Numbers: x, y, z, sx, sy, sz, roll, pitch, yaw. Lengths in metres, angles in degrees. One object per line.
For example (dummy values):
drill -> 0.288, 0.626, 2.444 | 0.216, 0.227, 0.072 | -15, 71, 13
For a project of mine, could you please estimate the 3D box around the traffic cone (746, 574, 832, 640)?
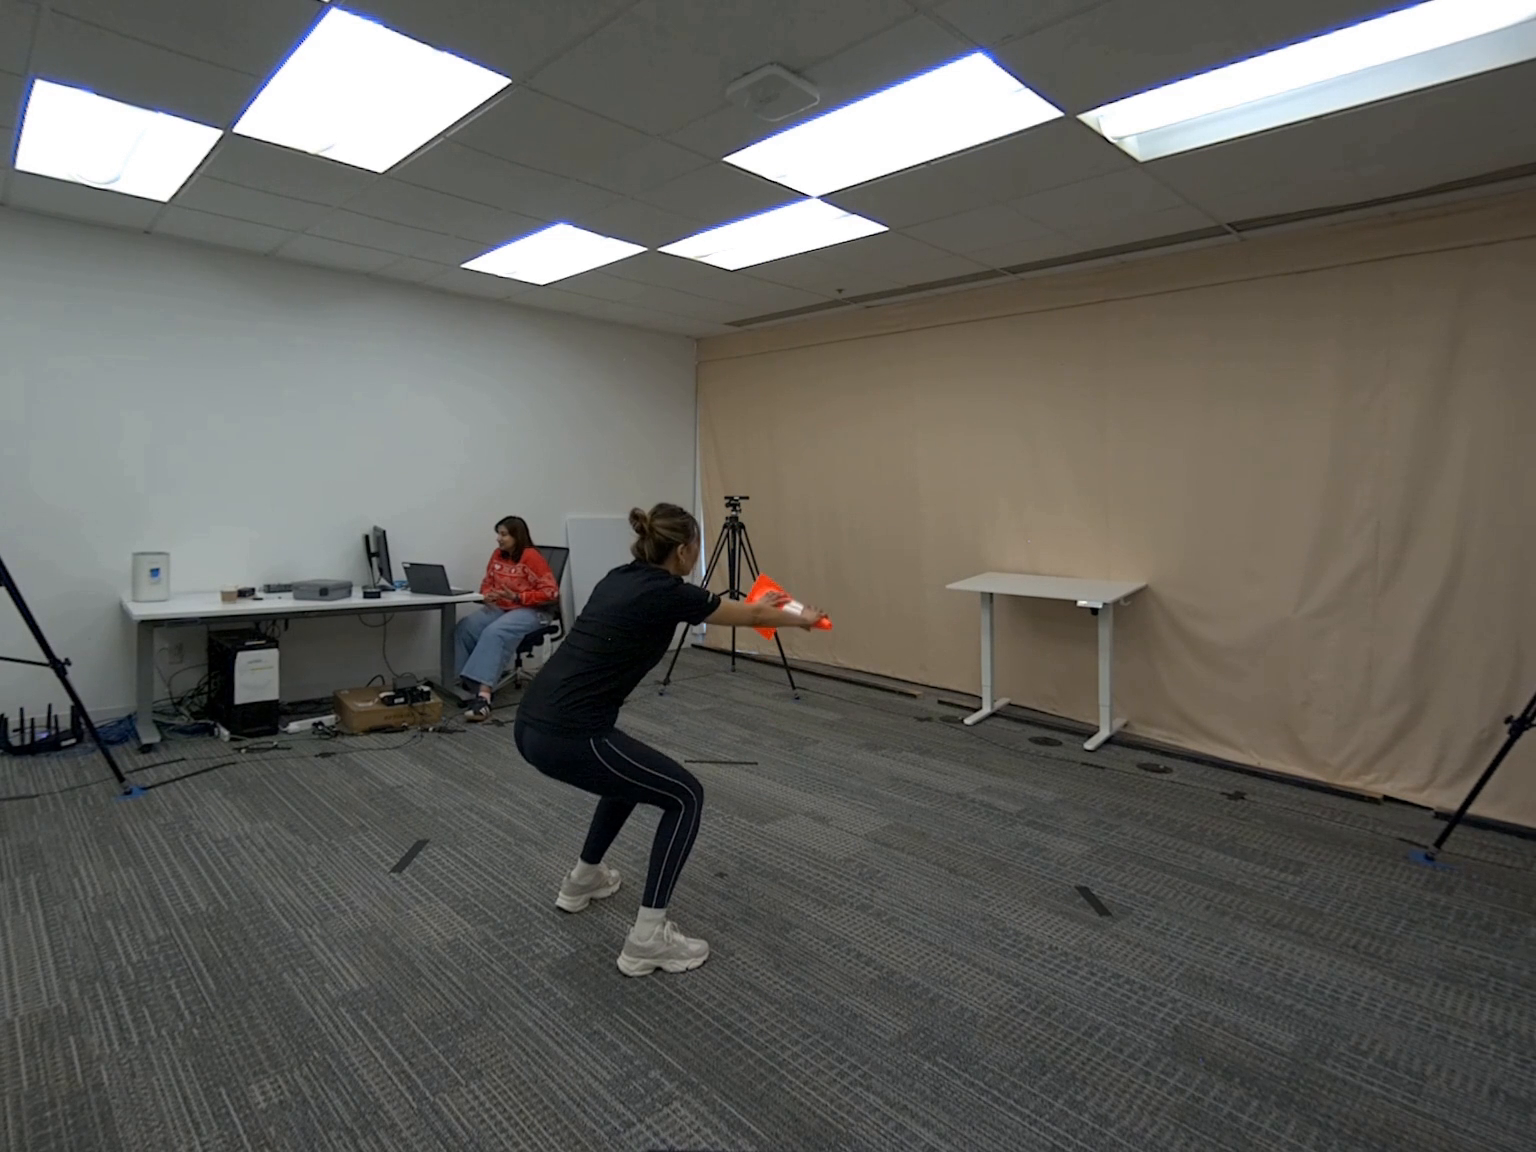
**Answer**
traffic cone -> 0.091, 0.151, 3.109 | 0.197, 0.205, 0.394 | 39, -13, -33
